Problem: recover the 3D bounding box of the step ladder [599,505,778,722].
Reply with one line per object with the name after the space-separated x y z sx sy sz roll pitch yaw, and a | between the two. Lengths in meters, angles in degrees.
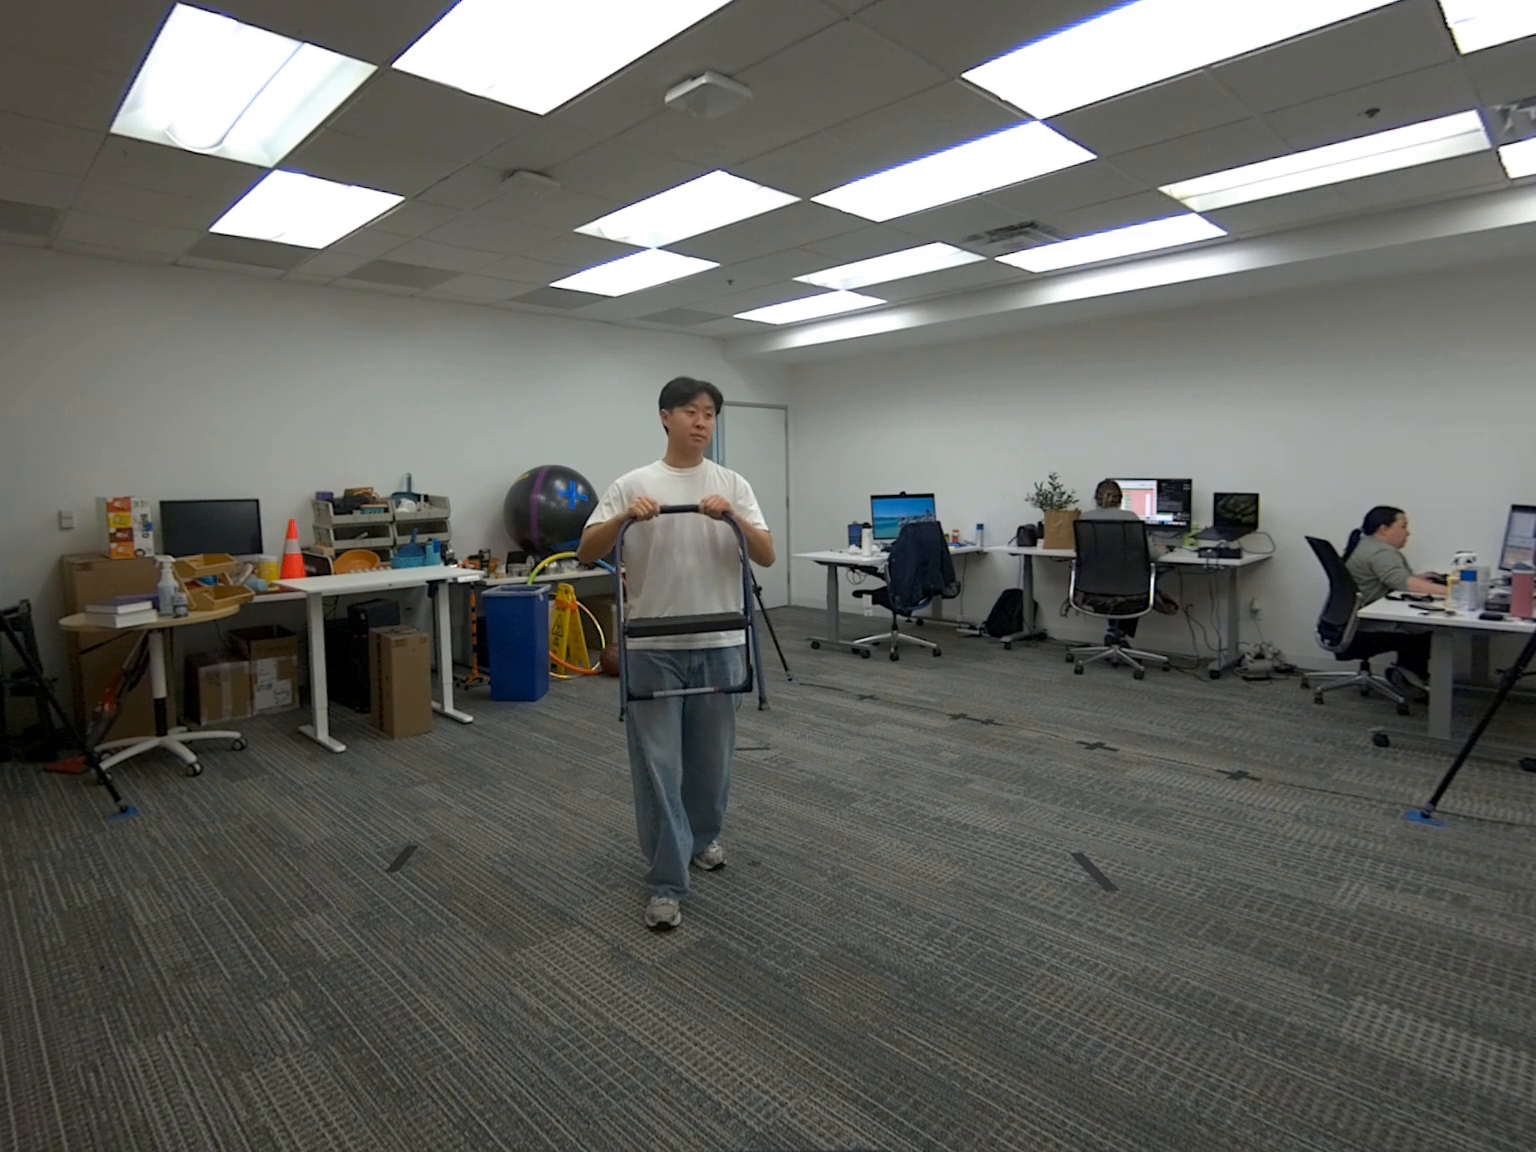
-0.265 0.093 2.582 0.428 0.607 0.351 -6 -1 -7 | step ladder
